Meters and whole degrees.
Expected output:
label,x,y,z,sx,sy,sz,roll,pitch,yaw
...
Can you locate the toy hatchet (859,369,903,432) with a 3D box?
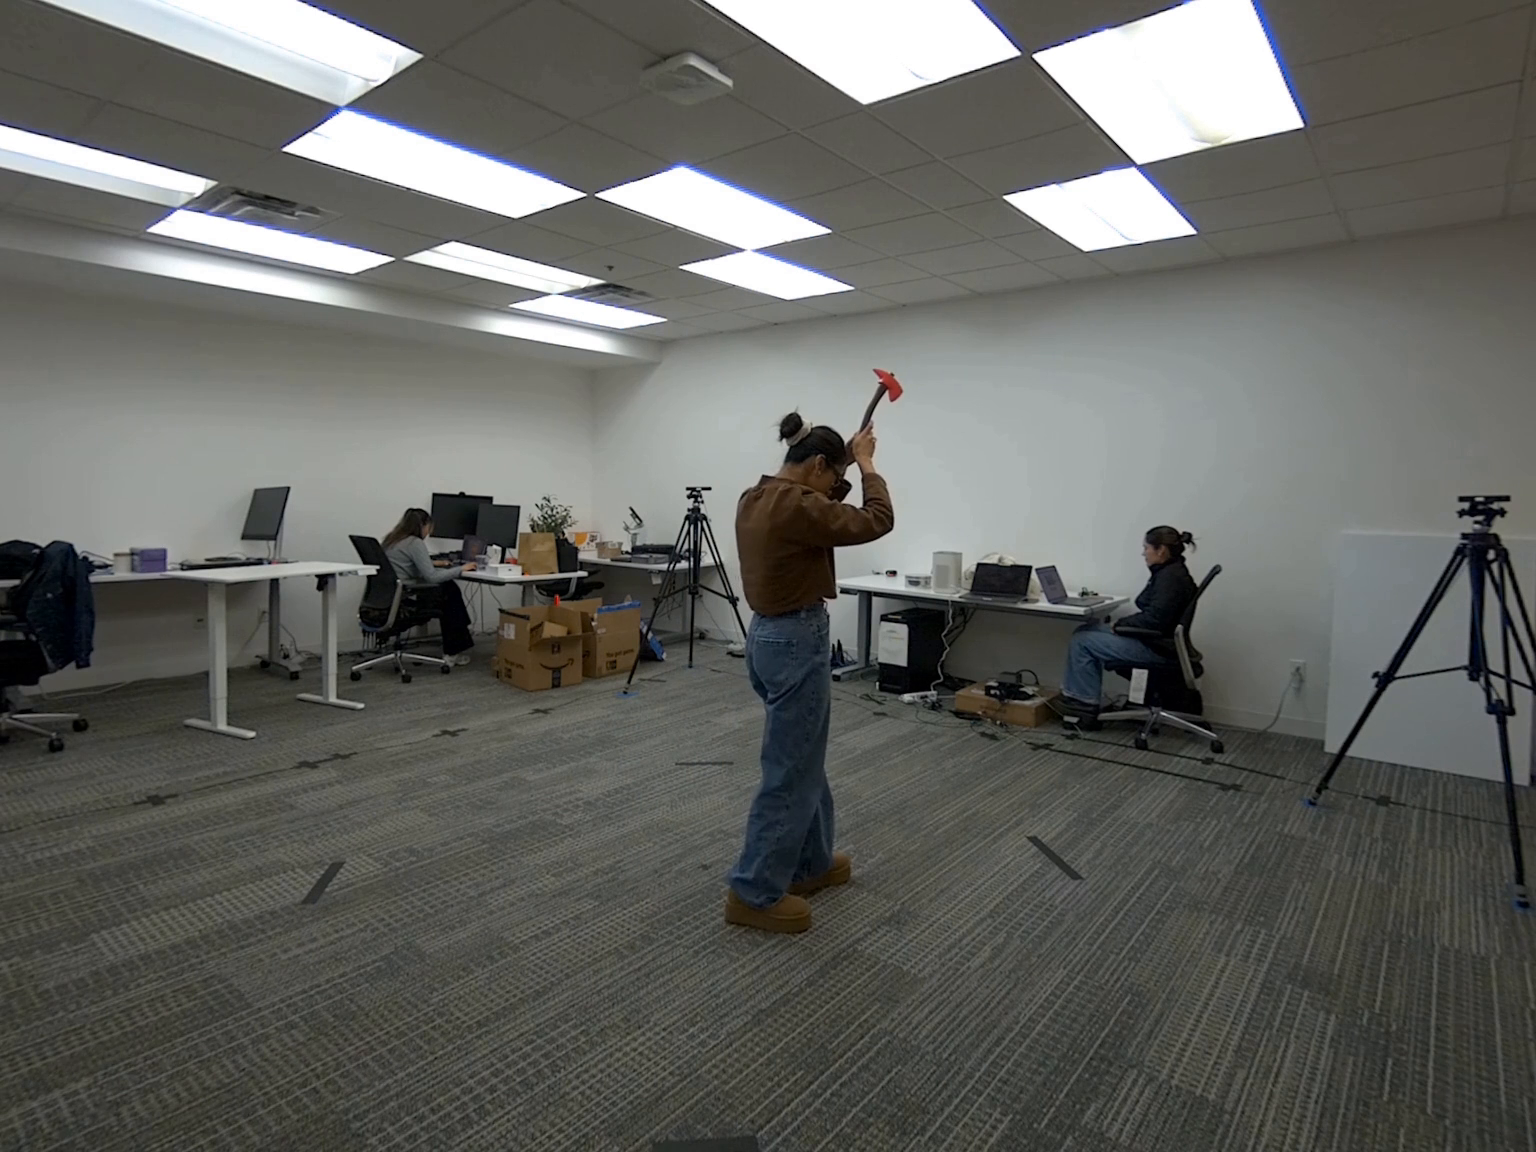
label,x,y,z,sx,sy,sz,roll,pitch,yaw
toy hatchet,0.368,-0.567,2.859,0.127,0.271,0.030,16,-5,-25
